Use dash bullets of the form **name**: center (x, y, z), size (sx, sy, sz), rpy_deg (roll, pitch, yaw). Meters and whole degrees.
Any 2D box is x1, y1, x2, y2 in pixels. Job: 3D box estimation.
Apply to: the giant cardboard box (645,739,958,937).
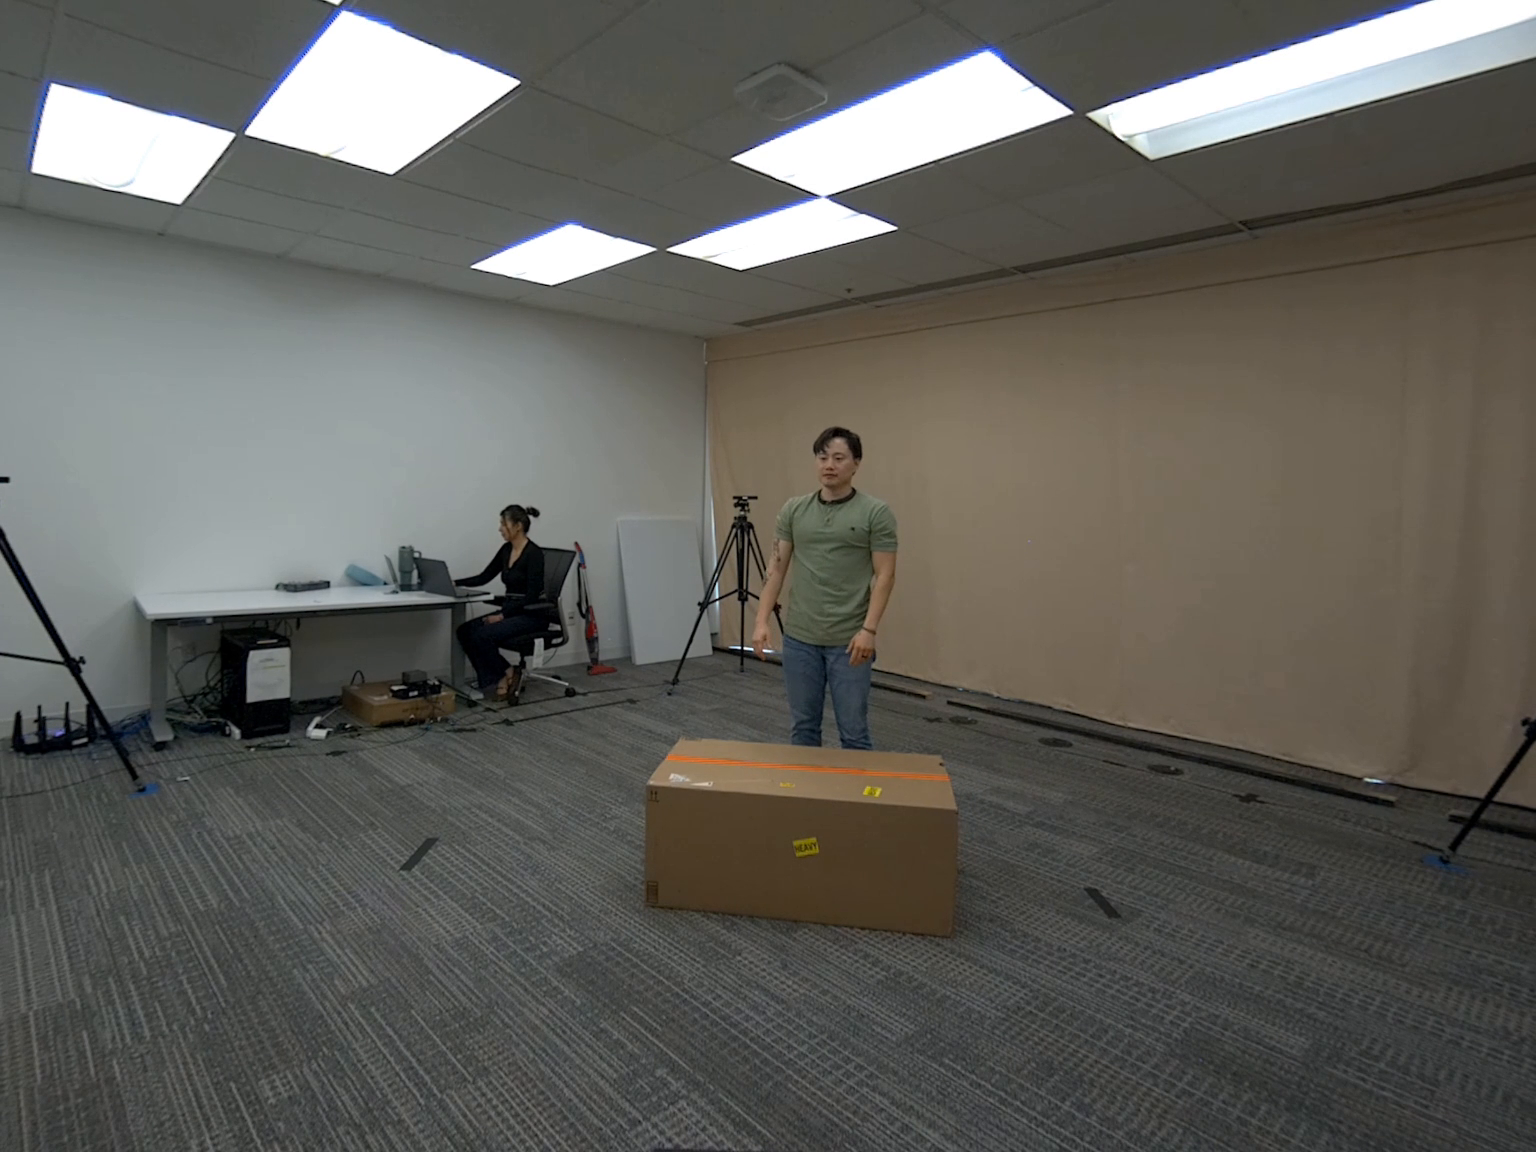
- **giant cardboard box**: center (0.117, 0.897, 3.035), size (1.033, 0.425, 0.575), rpy_deg (2, 5, 8)
